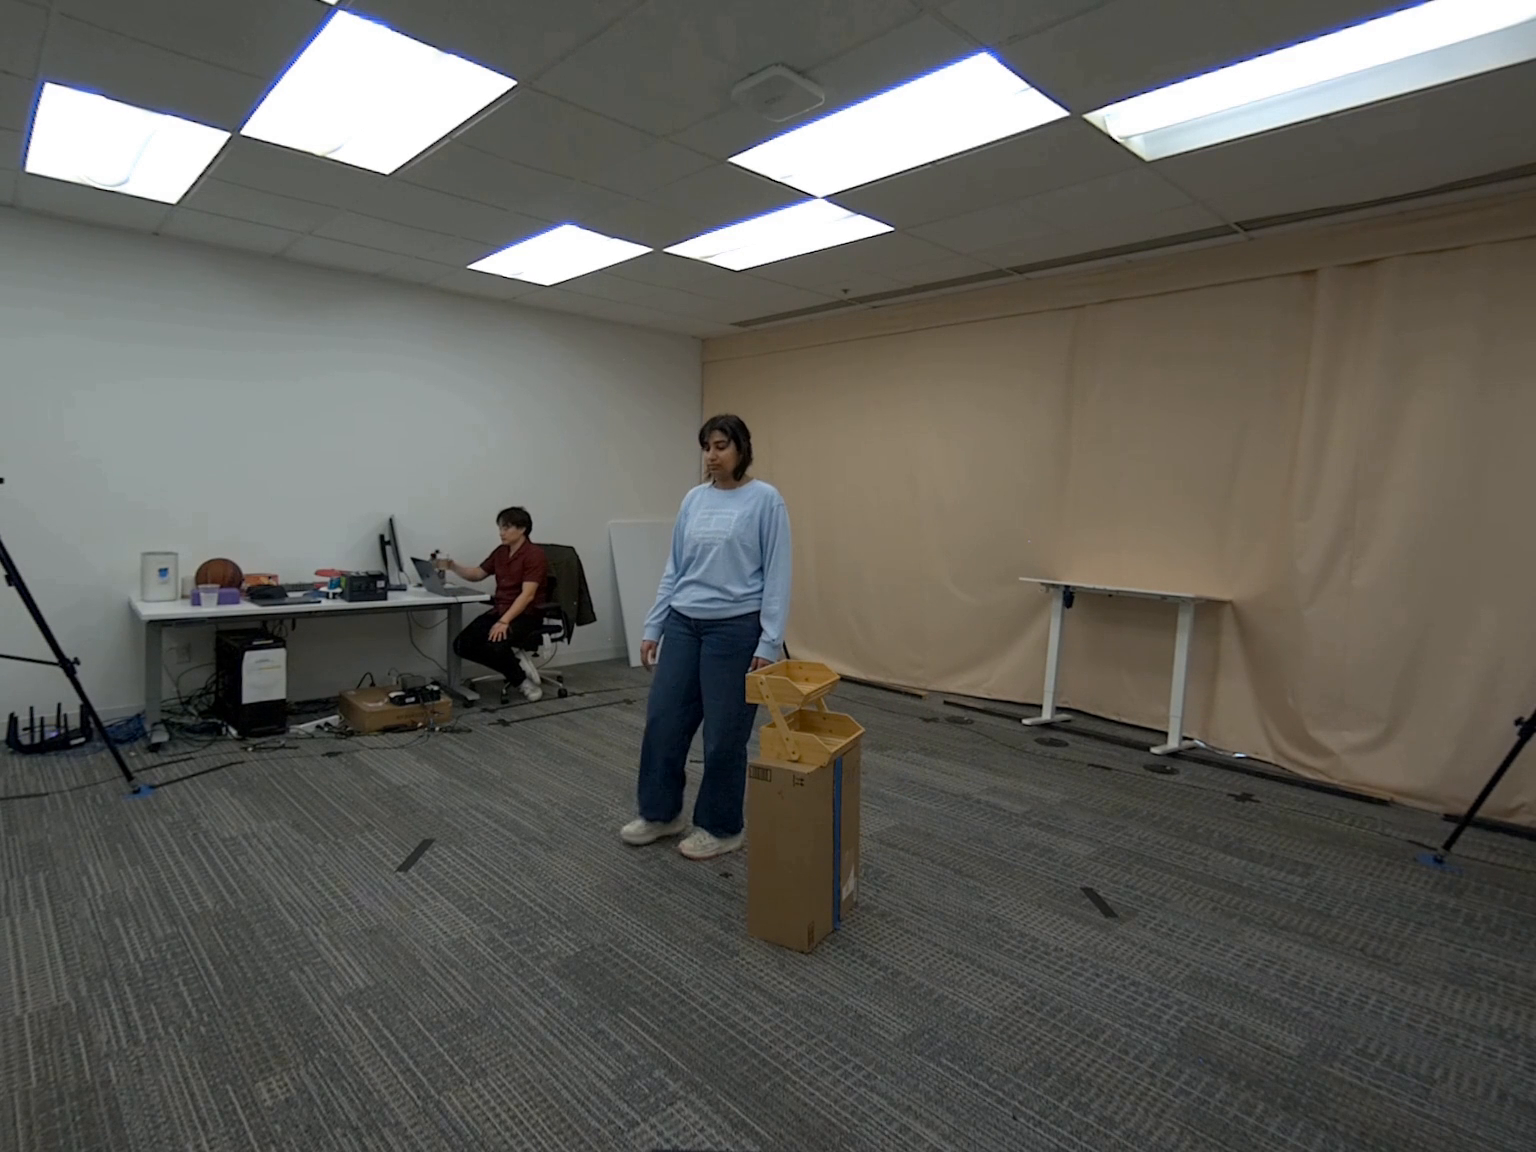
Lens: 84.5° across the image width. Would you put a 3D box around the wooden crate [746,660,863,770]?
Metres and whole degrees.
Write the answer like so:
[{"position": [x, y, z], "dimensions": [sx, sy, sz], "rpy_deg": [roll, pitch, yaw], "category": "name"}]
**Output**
[{"position": [0.133, 0.443, 2.786], "dimensions": [0.308, 0.272, 0.319], "rpy_deg": [2, 4, 27], "category": "wooden crate"}]
